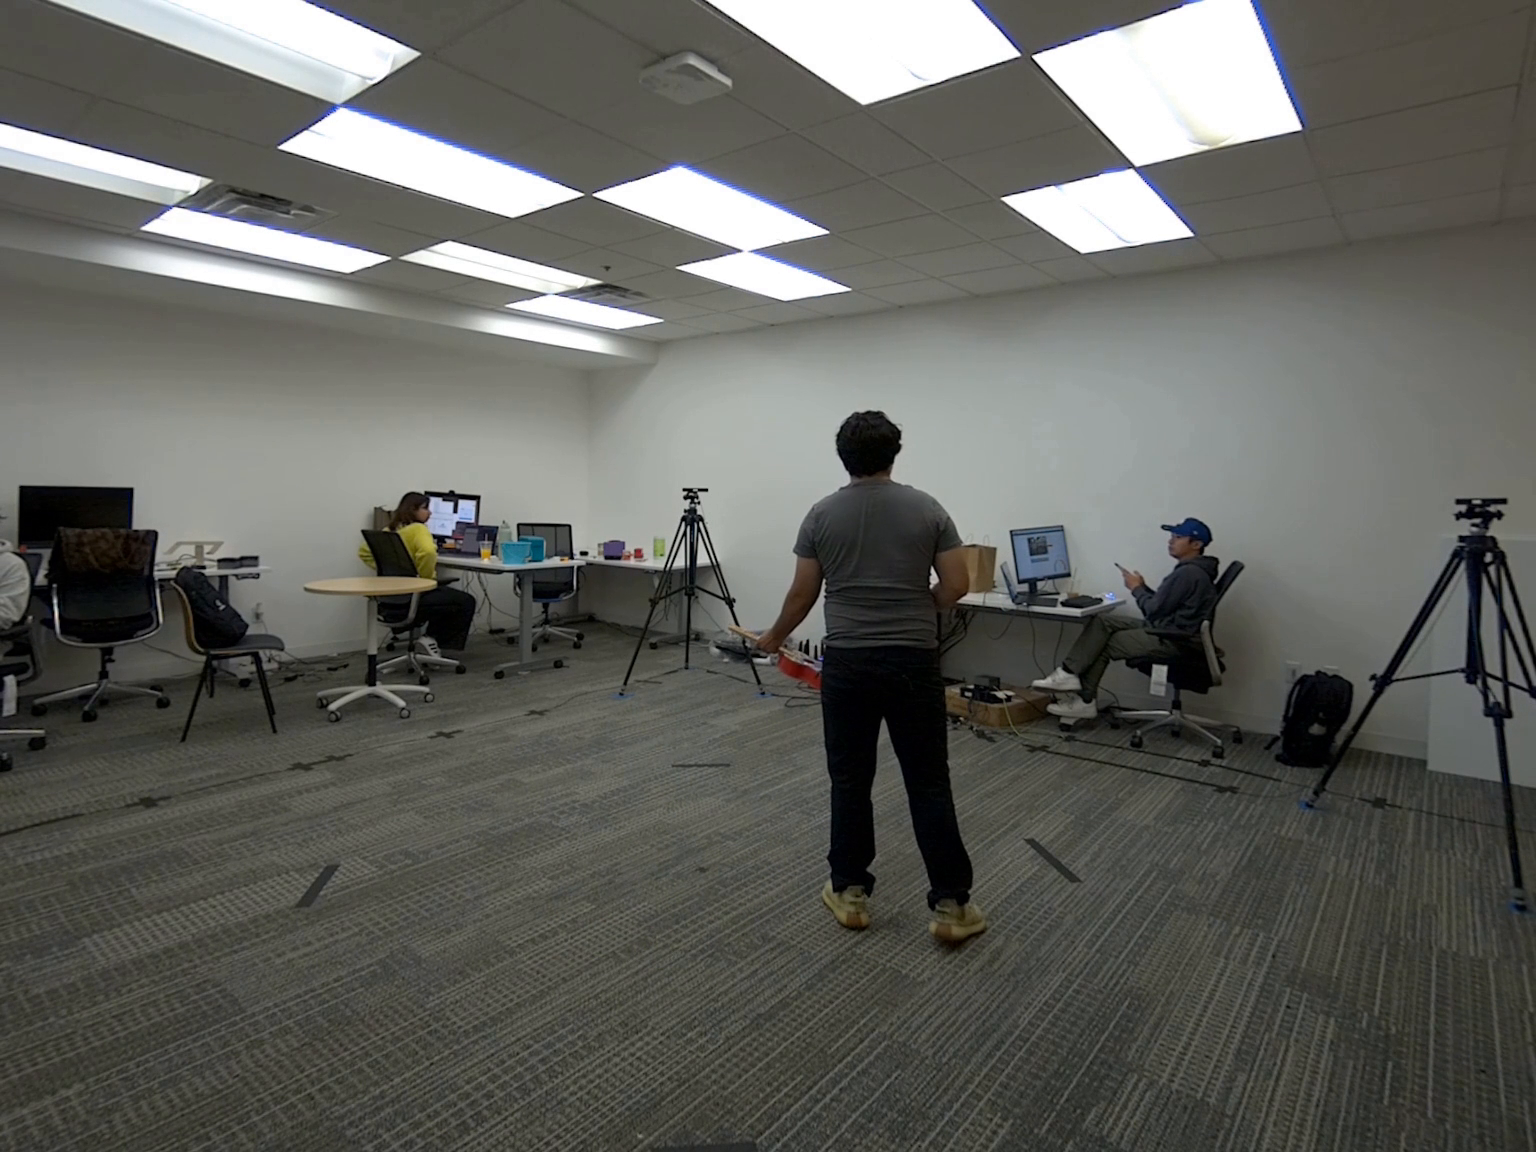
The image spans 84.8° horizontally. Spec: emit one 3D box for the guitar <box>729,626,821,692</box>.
[{"bbox_3d":[0.078,0.301,3.131,0.515,0.070,0.188,24,14,28],"label":"guitar"}]
